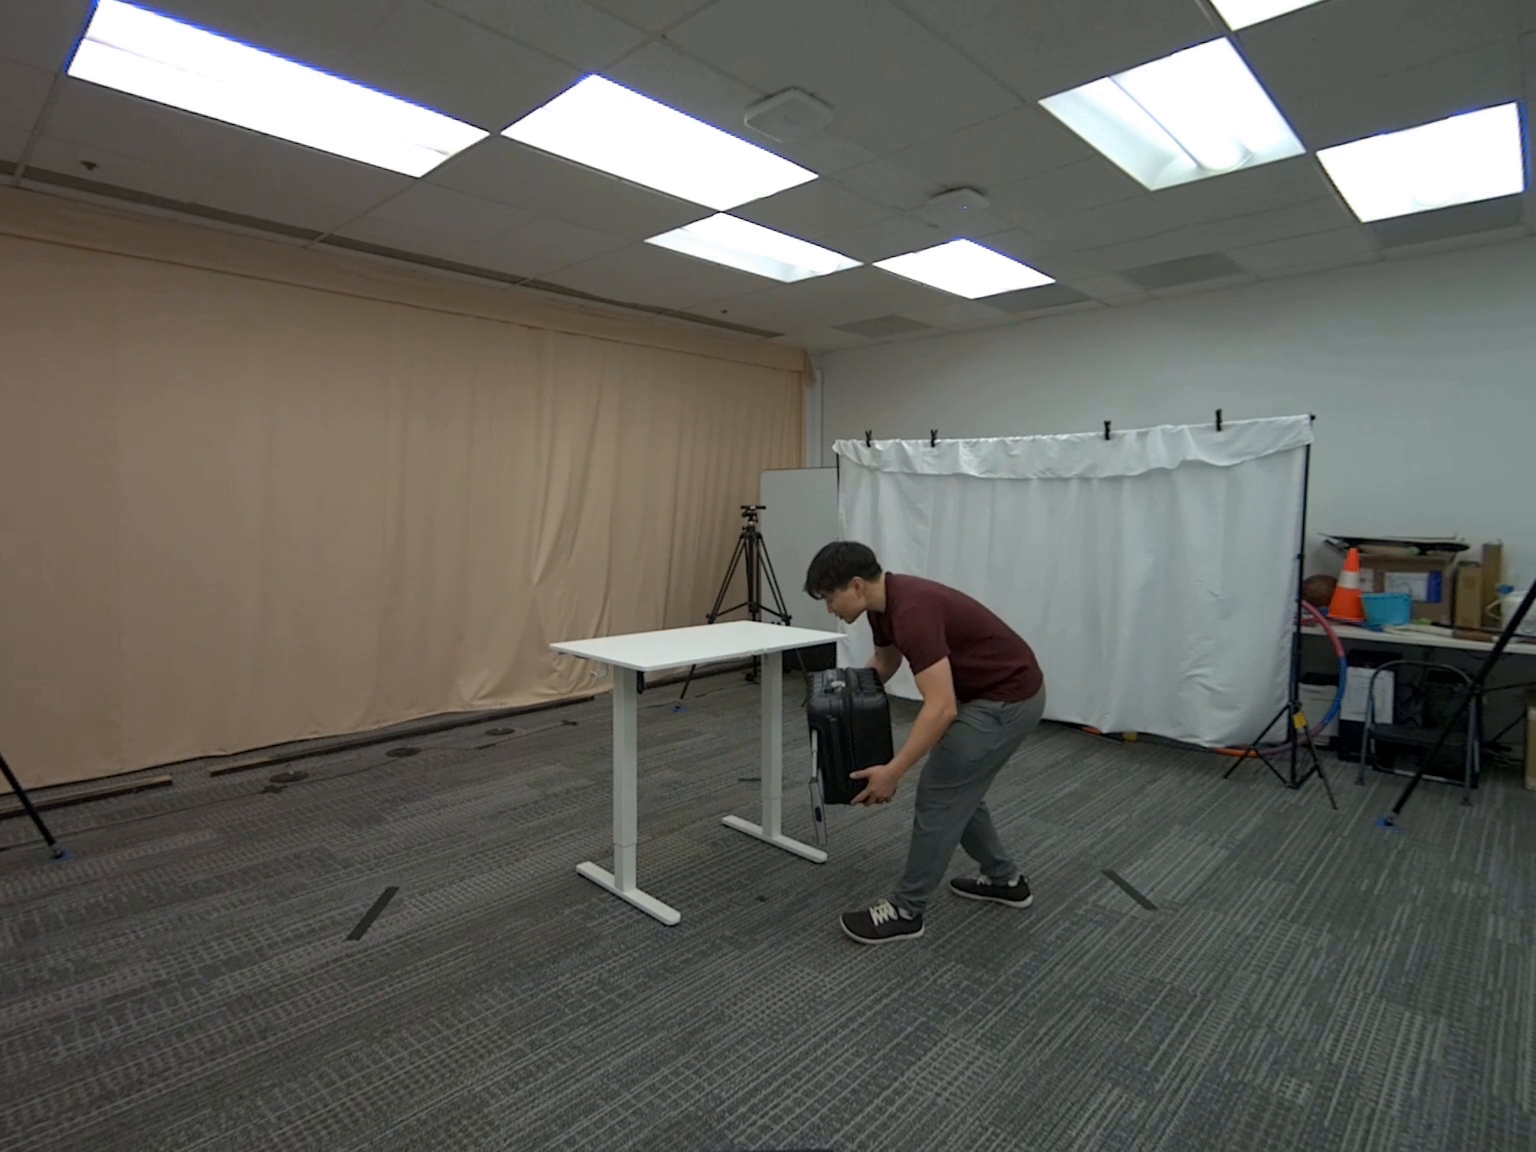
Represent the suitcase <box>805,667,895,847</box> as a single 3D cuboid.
[{"bbox_3d":[0.259,0.525,2.569,0.258,0.383,0.976,-4,3,2],"label":"suitcase"}]
